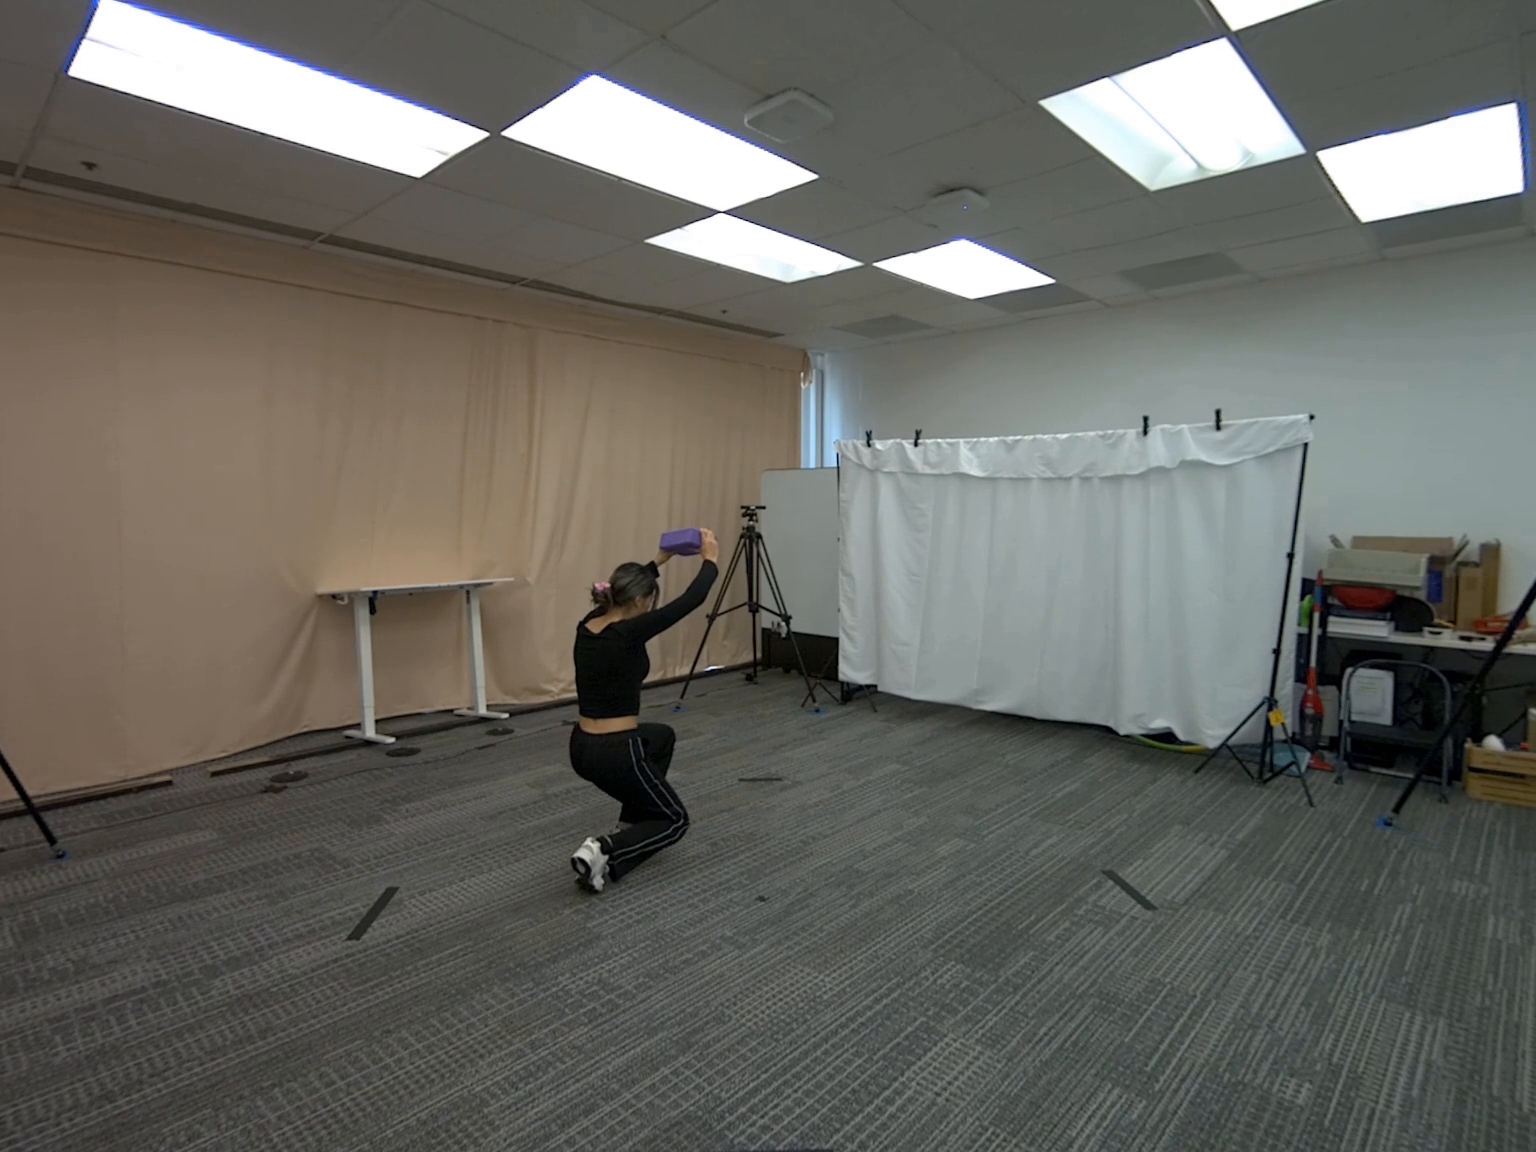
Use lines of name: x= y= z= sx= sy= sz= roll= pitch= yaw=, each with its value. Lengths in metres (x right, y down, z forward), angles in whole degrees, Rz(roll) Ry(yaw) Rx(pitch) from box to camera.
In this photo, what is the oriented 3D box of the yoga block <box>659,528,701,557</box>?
yoga block: x=-0.340 y=-0.153 z=3.646 sx=0.144 sy=0.077 sz=0.236 roll=19 pitch=-17 yaw=-38
